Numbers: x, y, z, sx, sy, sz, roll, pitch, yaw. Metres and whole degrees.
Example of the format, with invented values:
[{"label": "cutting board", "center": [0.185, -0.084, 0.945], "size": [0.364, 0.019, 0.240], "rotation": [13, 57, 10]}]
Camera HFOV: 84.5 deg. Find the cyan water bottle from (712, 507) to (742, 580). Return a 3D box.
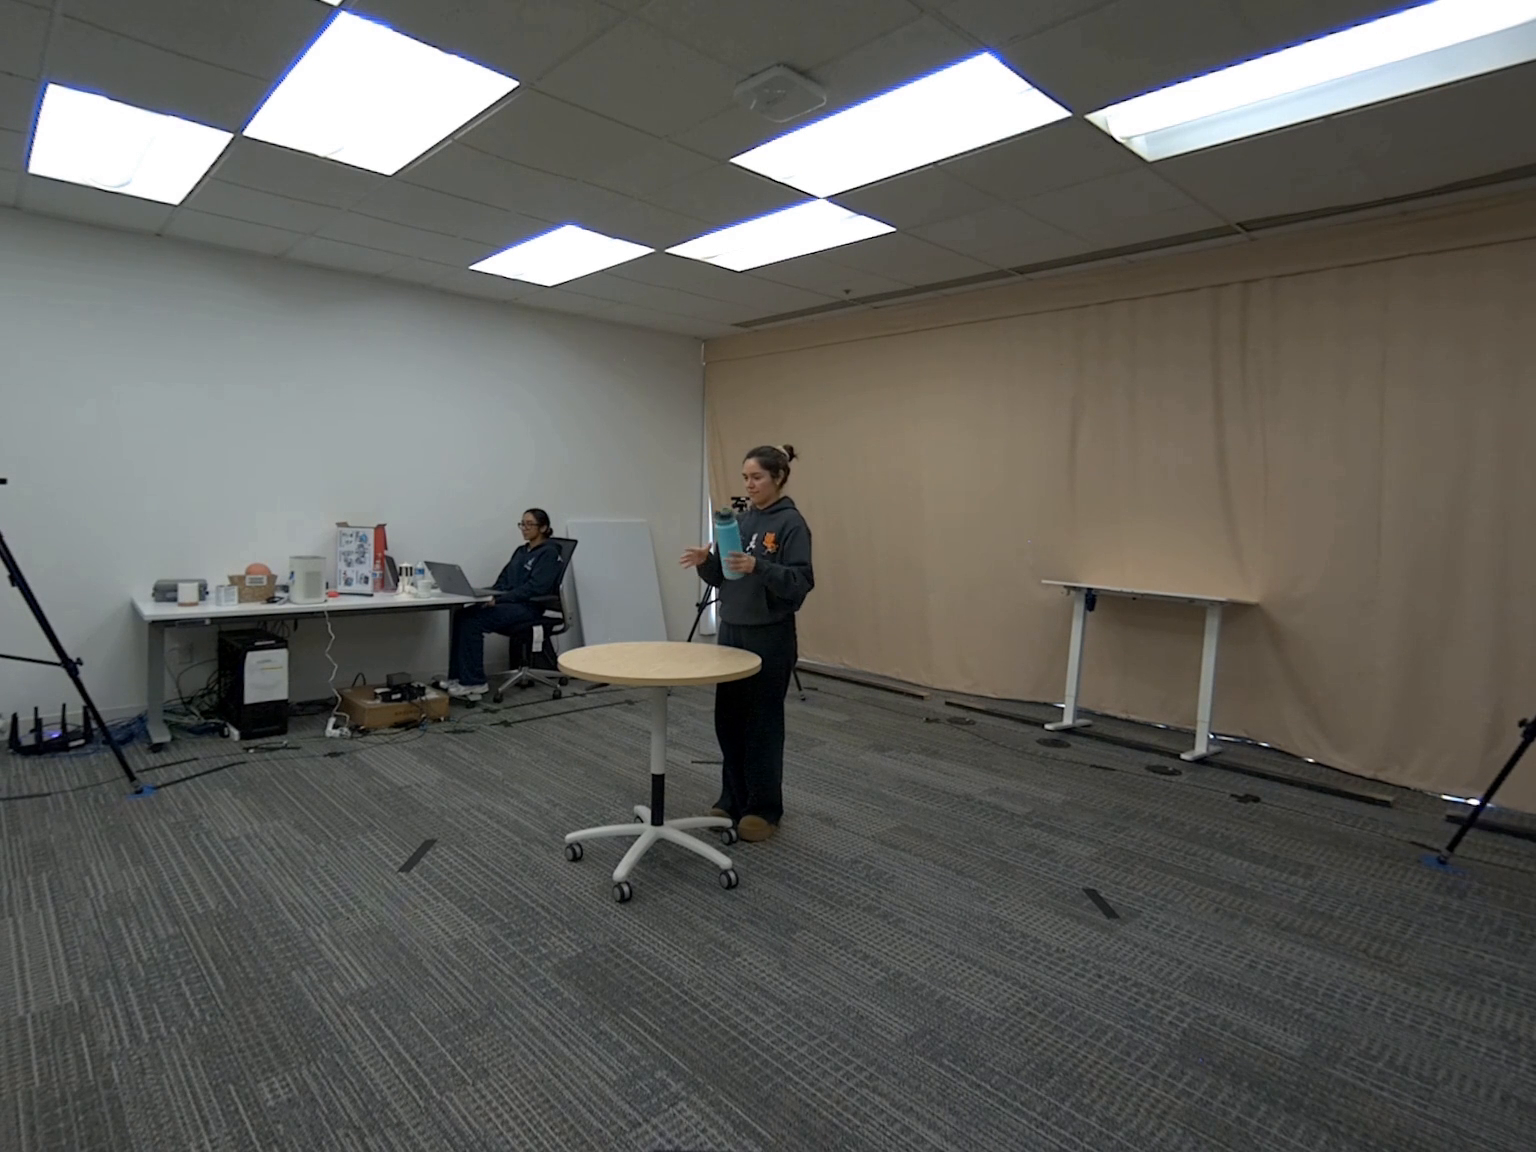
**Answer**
[{"label": "cyan water bottle", "center": [-0.162, -0.119, 3.264], "size": [0.092, 0.278, 0.094], "rotation": [-8, 24, 3]}]
